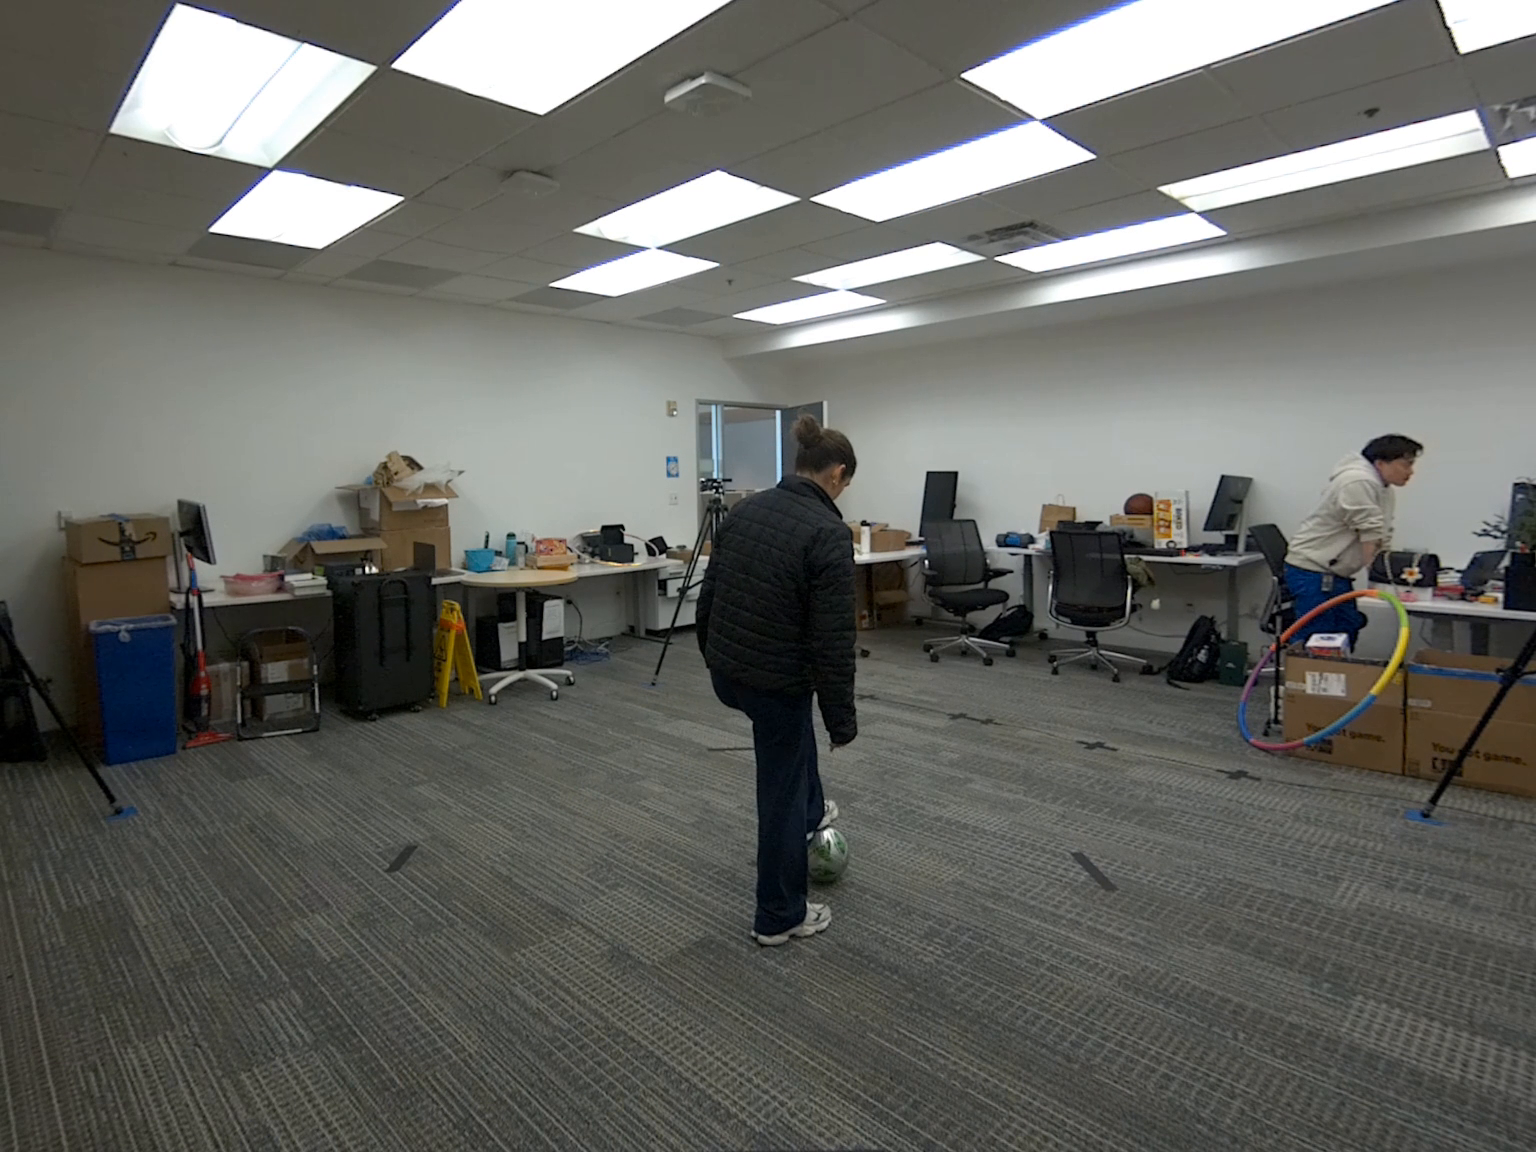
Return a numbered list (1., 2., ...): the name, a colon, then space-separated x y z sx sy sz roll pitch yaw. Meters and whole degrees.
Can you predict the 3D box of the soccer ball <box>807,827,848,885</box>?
1. soccer ball: 0.190 0.961 2.960 0.187 0.187 0.188 -1 5 -2
